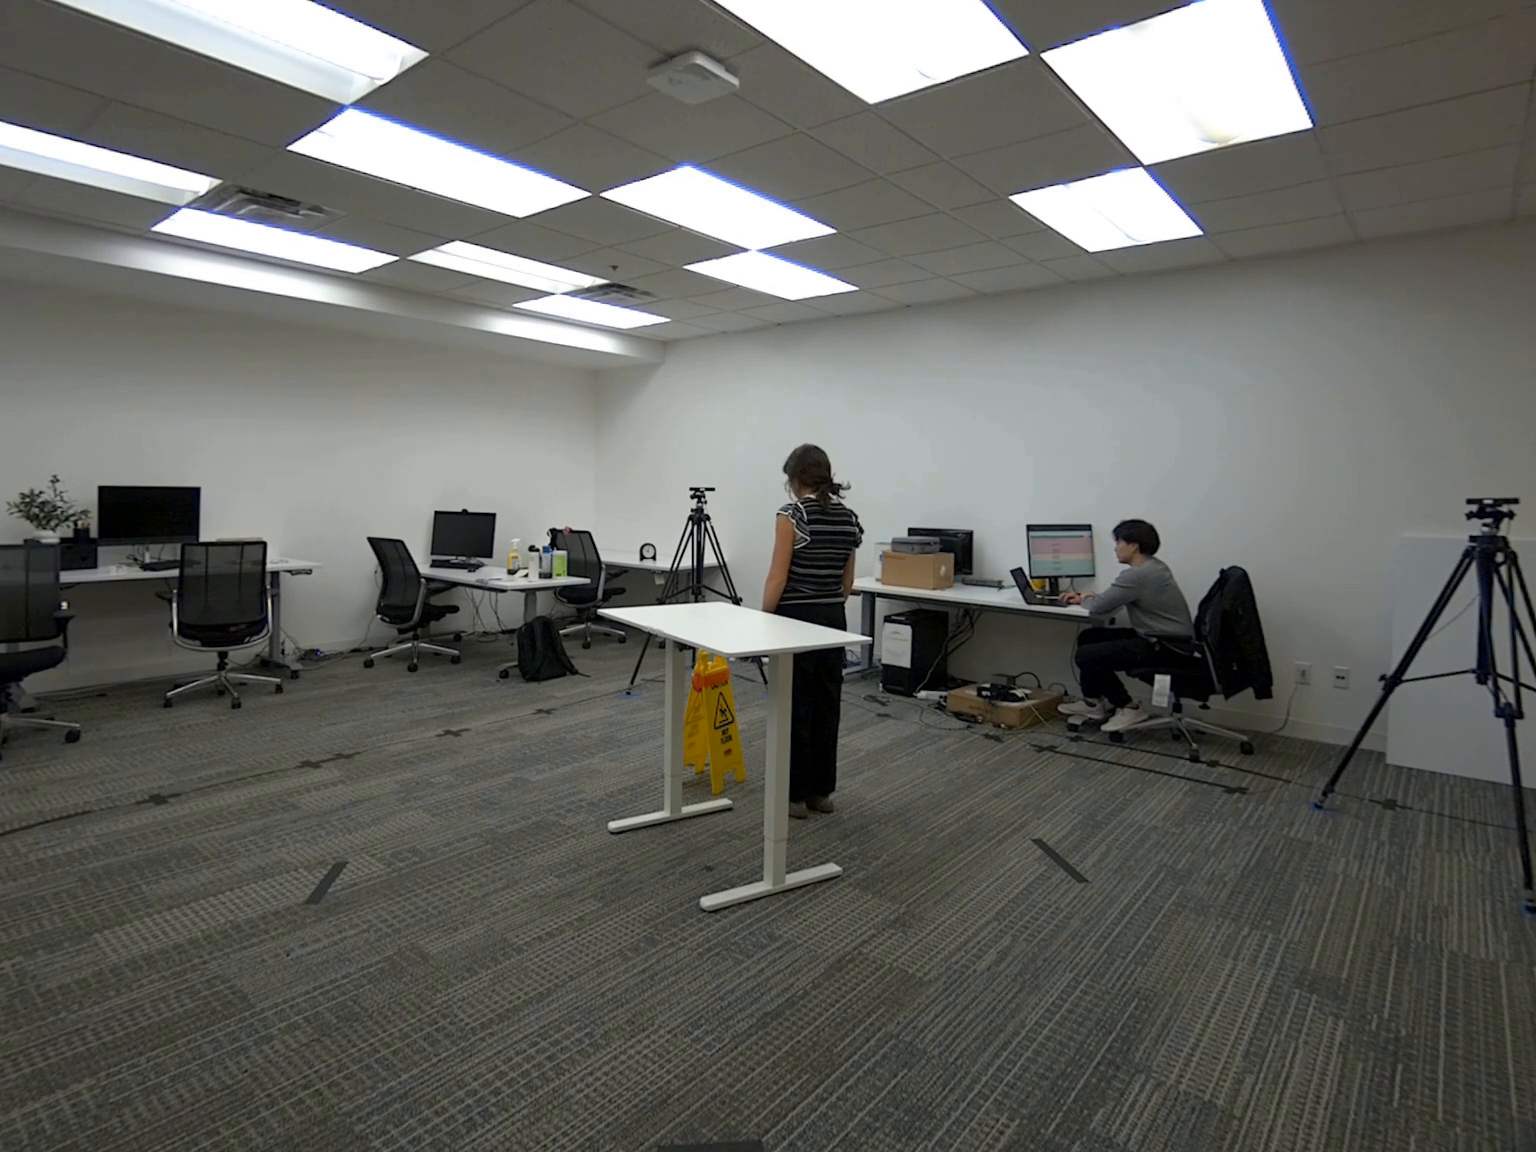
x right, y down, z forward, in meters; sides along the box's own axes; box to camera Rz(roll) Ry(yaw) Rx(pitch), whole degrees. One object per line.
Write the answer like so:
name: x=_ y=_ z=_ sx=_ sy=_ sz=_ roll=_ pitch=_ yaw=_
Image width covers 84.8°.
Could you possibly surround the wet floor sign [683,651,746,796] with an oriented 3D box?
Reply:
wet floor sign: x=-0.287 y=0.654 z=4.028 sx=0.298 sy=0.644 sz=0.275 roll=3 pitch=3 yaw=30
